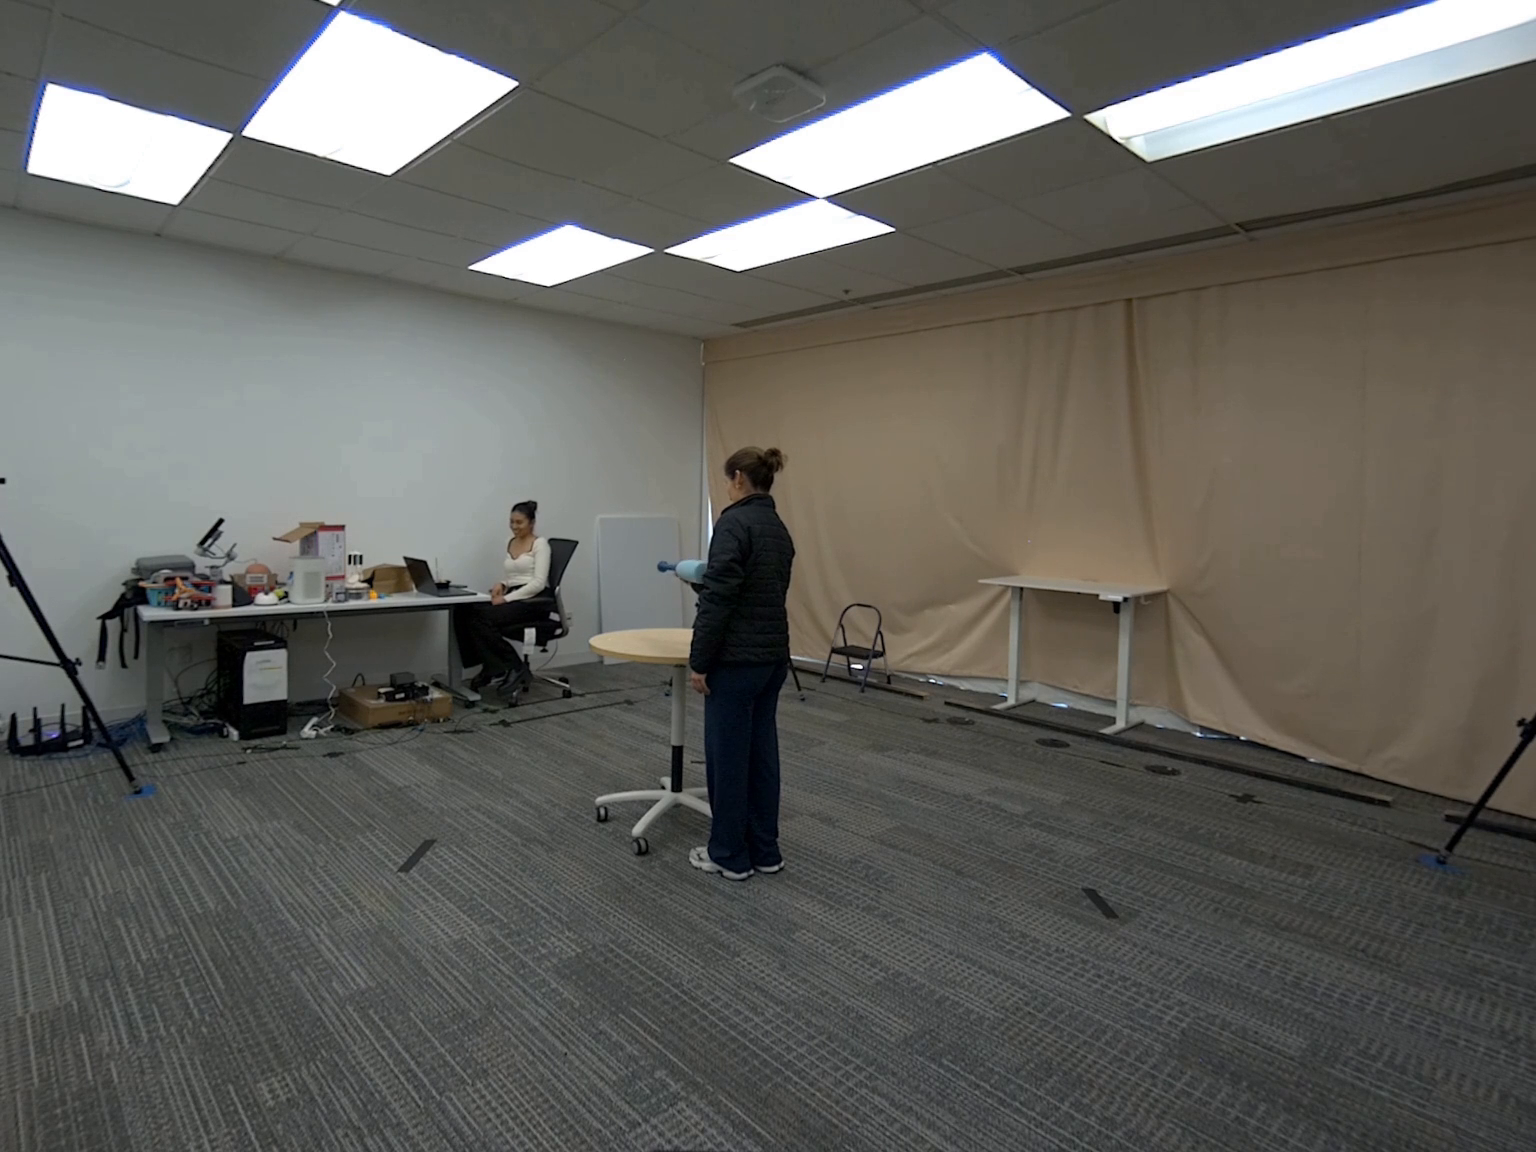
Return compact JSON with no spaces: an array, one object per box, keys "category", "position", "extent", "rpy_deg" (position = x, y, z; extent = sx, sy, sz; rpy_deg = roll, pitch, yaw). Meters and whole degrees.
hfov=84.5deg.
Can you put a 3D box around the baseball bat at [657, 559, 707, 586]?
[{"category":"baseball bat","position":[-0.366,-0.027,3.525],"extent":[0.087,0.089,0.552],"rpy_deg":[0,3,-23]}]
